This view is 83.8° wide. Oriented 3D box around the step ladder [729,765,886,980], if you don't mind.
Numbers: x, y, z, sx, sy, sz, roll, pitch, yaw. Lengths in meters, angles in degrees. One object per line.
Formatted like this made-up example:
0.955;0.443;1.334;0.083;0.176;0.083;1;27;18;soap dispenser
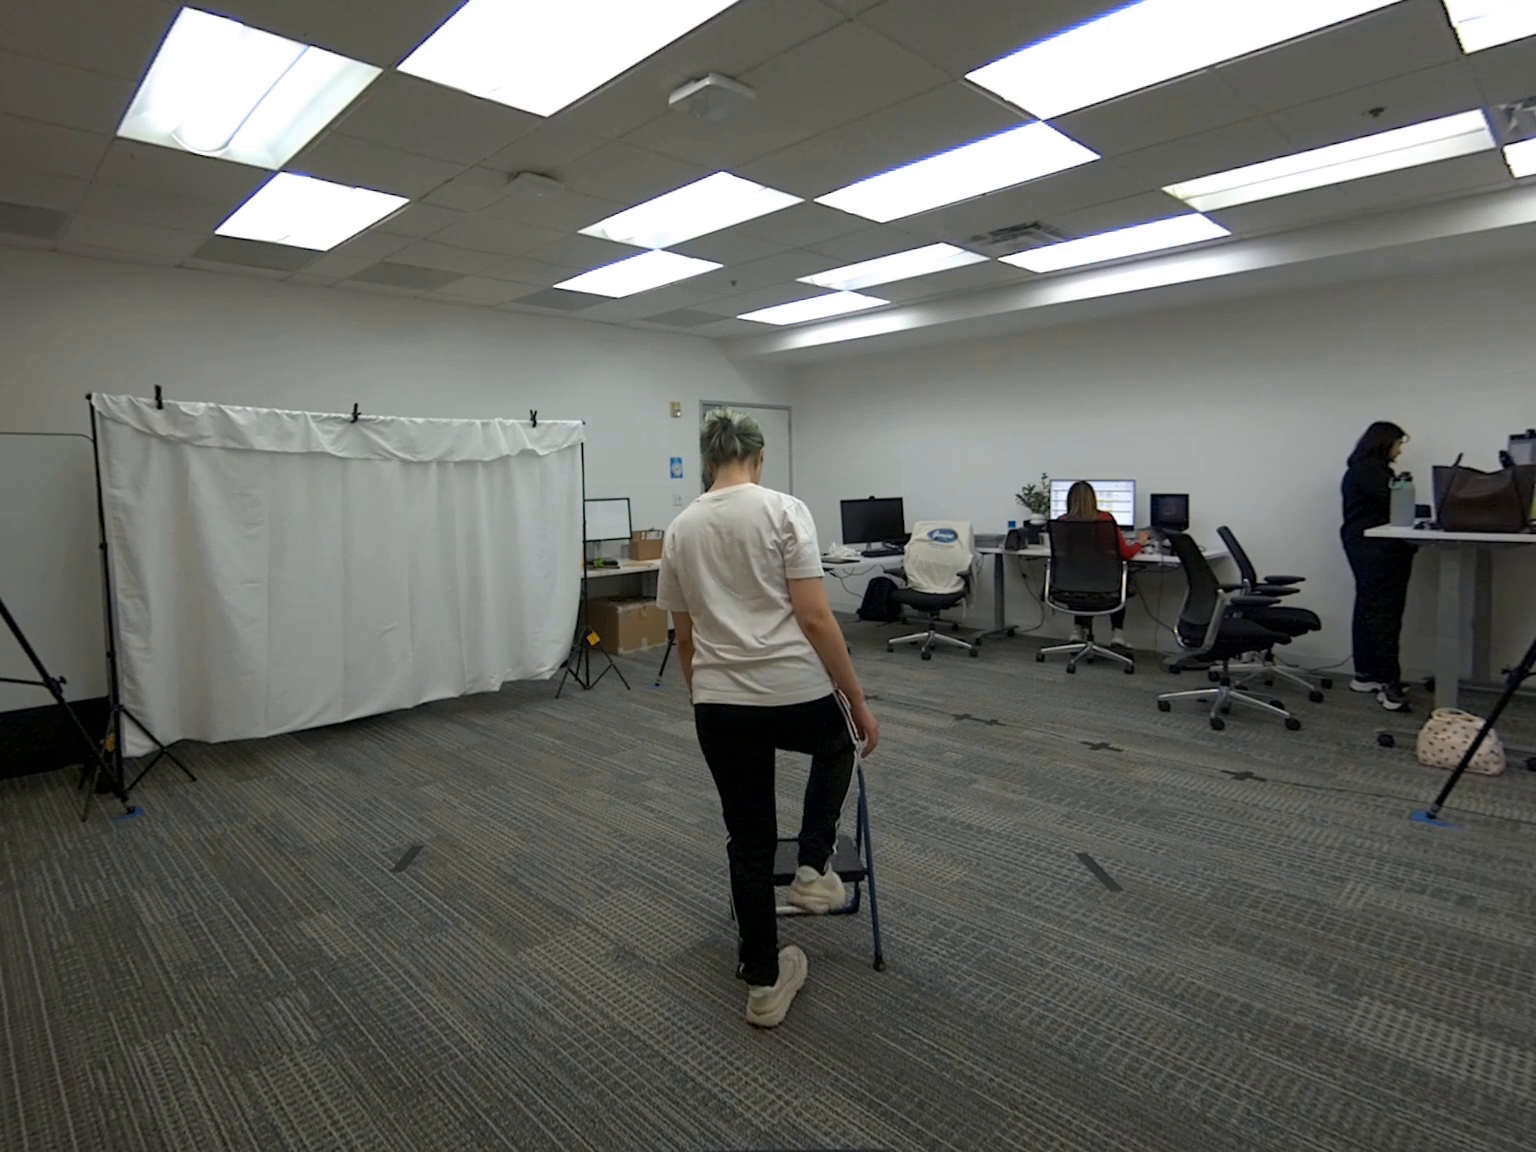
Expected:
0.109;0.809;2.566;0.429;0.604;0.352;-2;4;-4;step ladder
